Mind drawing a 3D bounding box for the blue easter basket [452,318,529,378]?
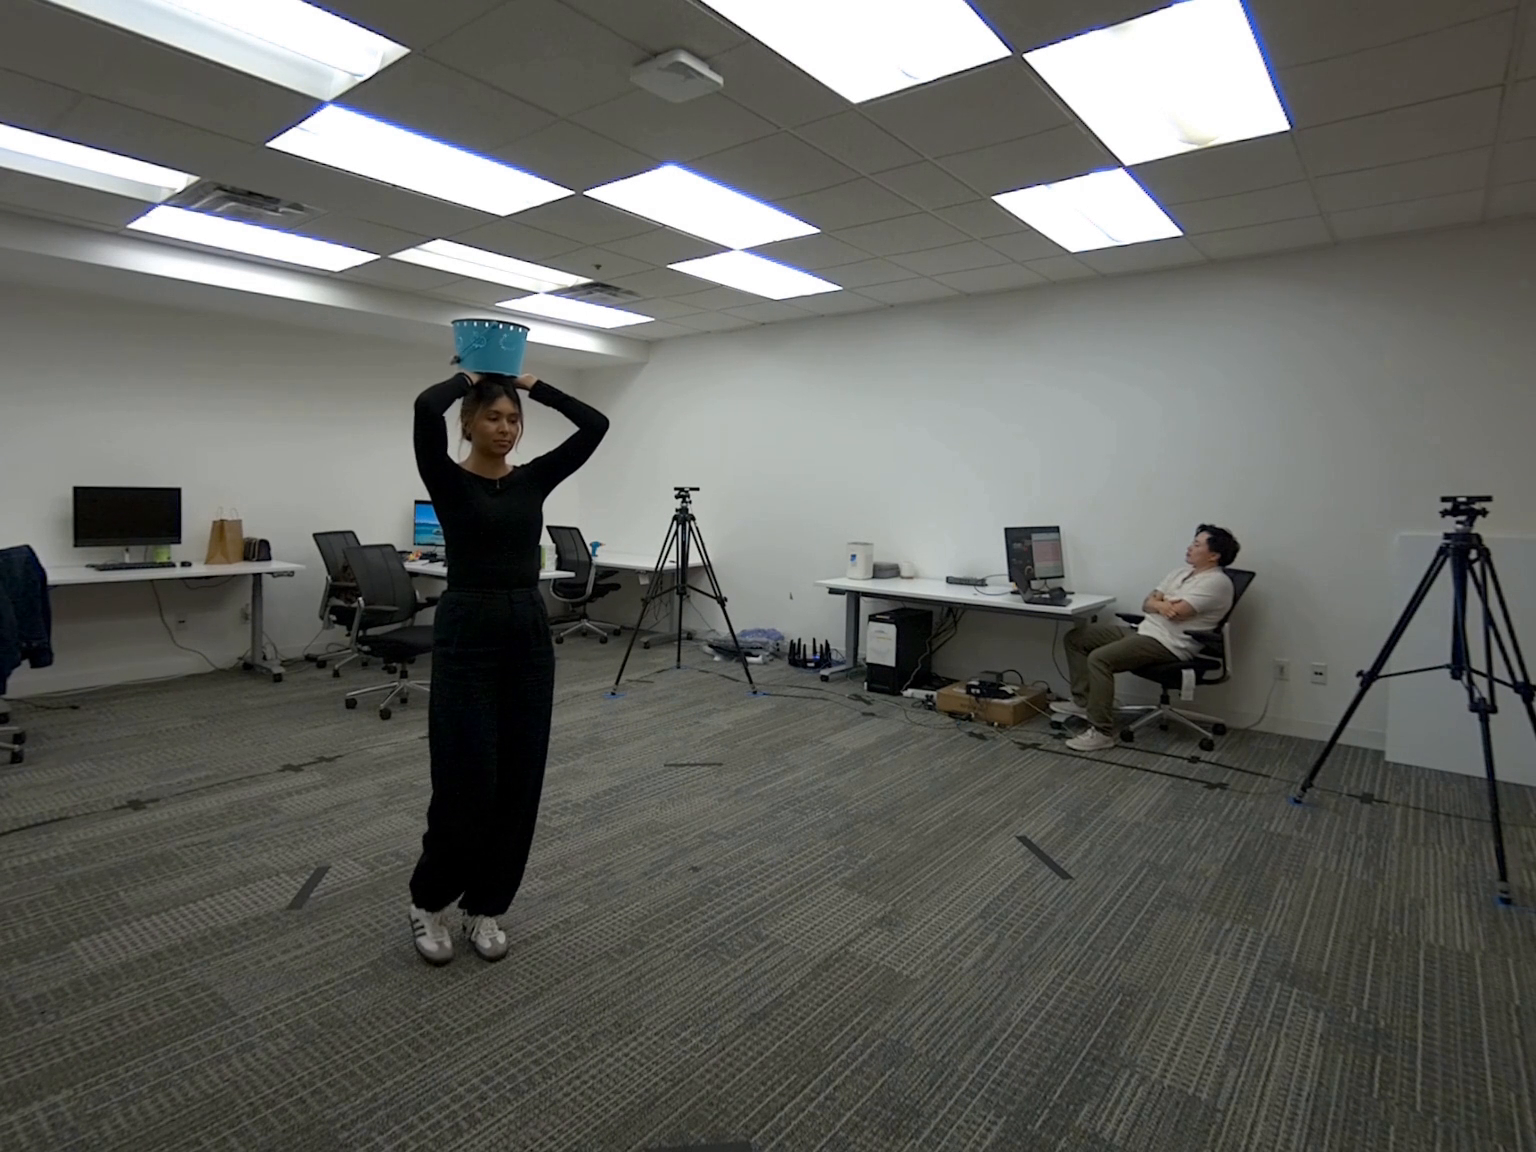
[{"bbox_3d":[-0.875,-0.692,2.590,0.243,0.155,0.245,3,5,-2],"label":"blue easter basket"}]
